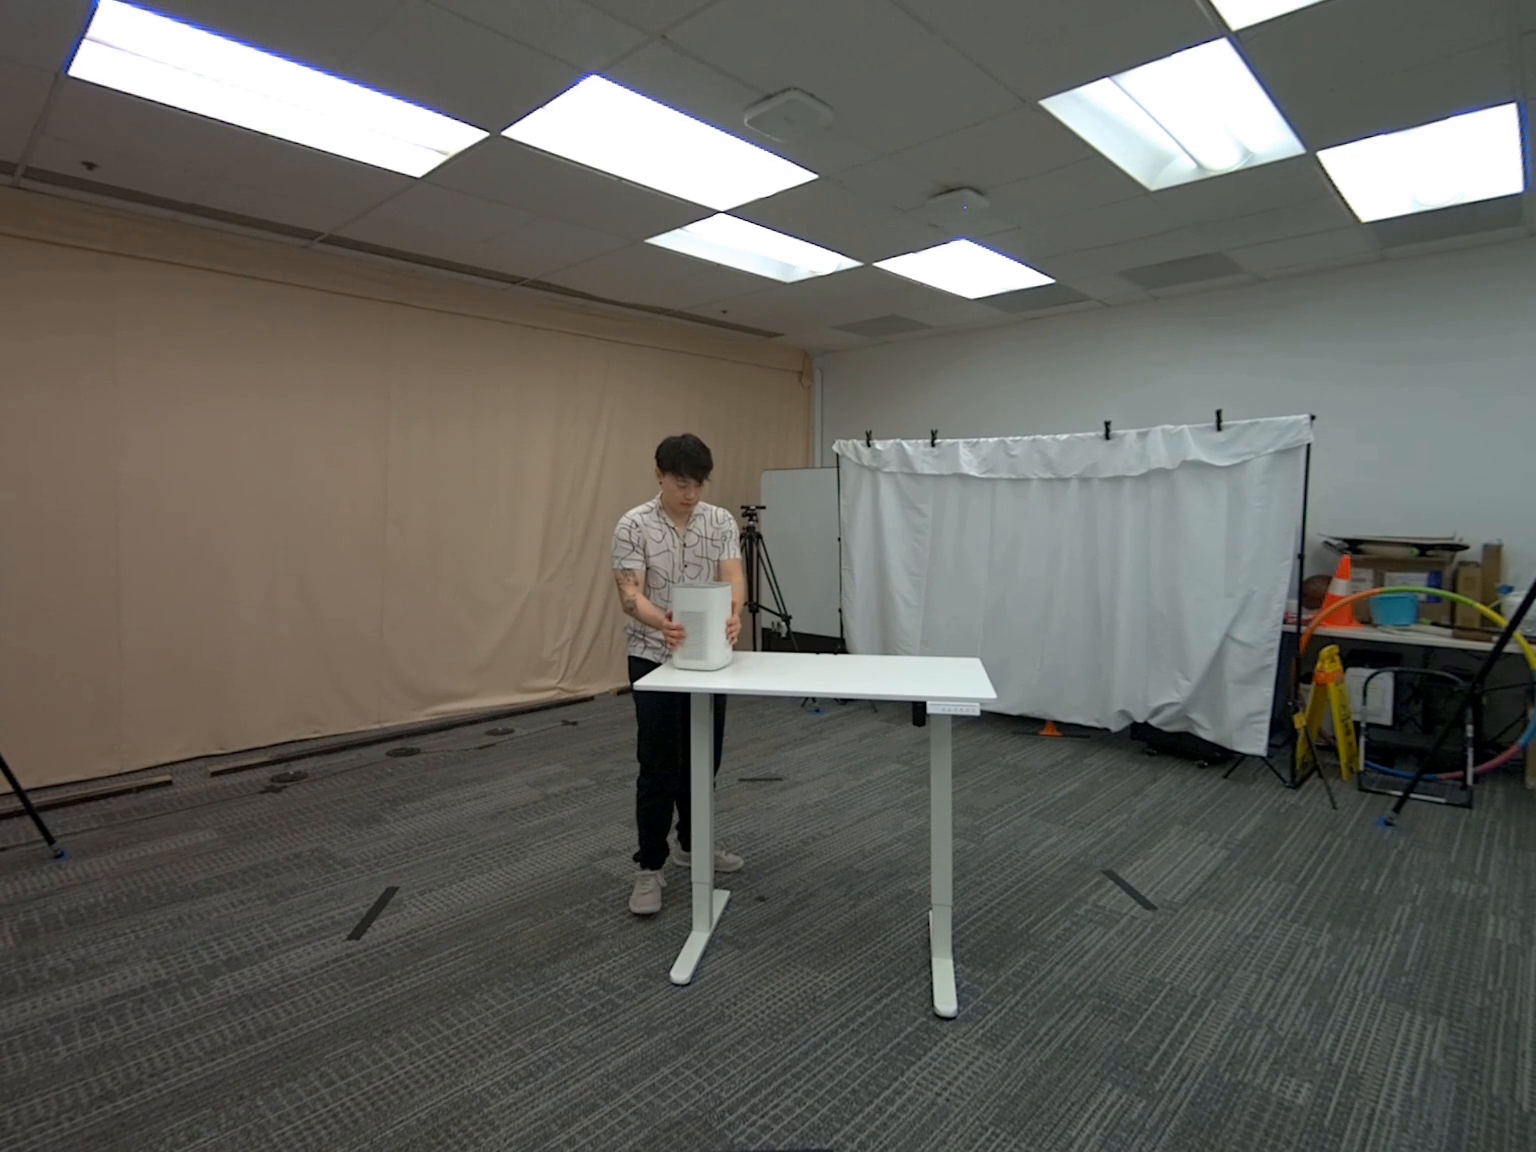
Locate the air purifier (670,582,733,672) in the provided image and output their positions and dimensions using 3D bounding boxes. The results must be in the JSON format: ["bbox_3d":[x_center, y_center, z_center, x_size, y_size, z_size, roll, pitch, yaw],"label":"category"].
[{"bbox_3d":[-0.212,0.158,2.675,0.175,0.265,0.168,1,2,17],"label":"air purifier"}]
